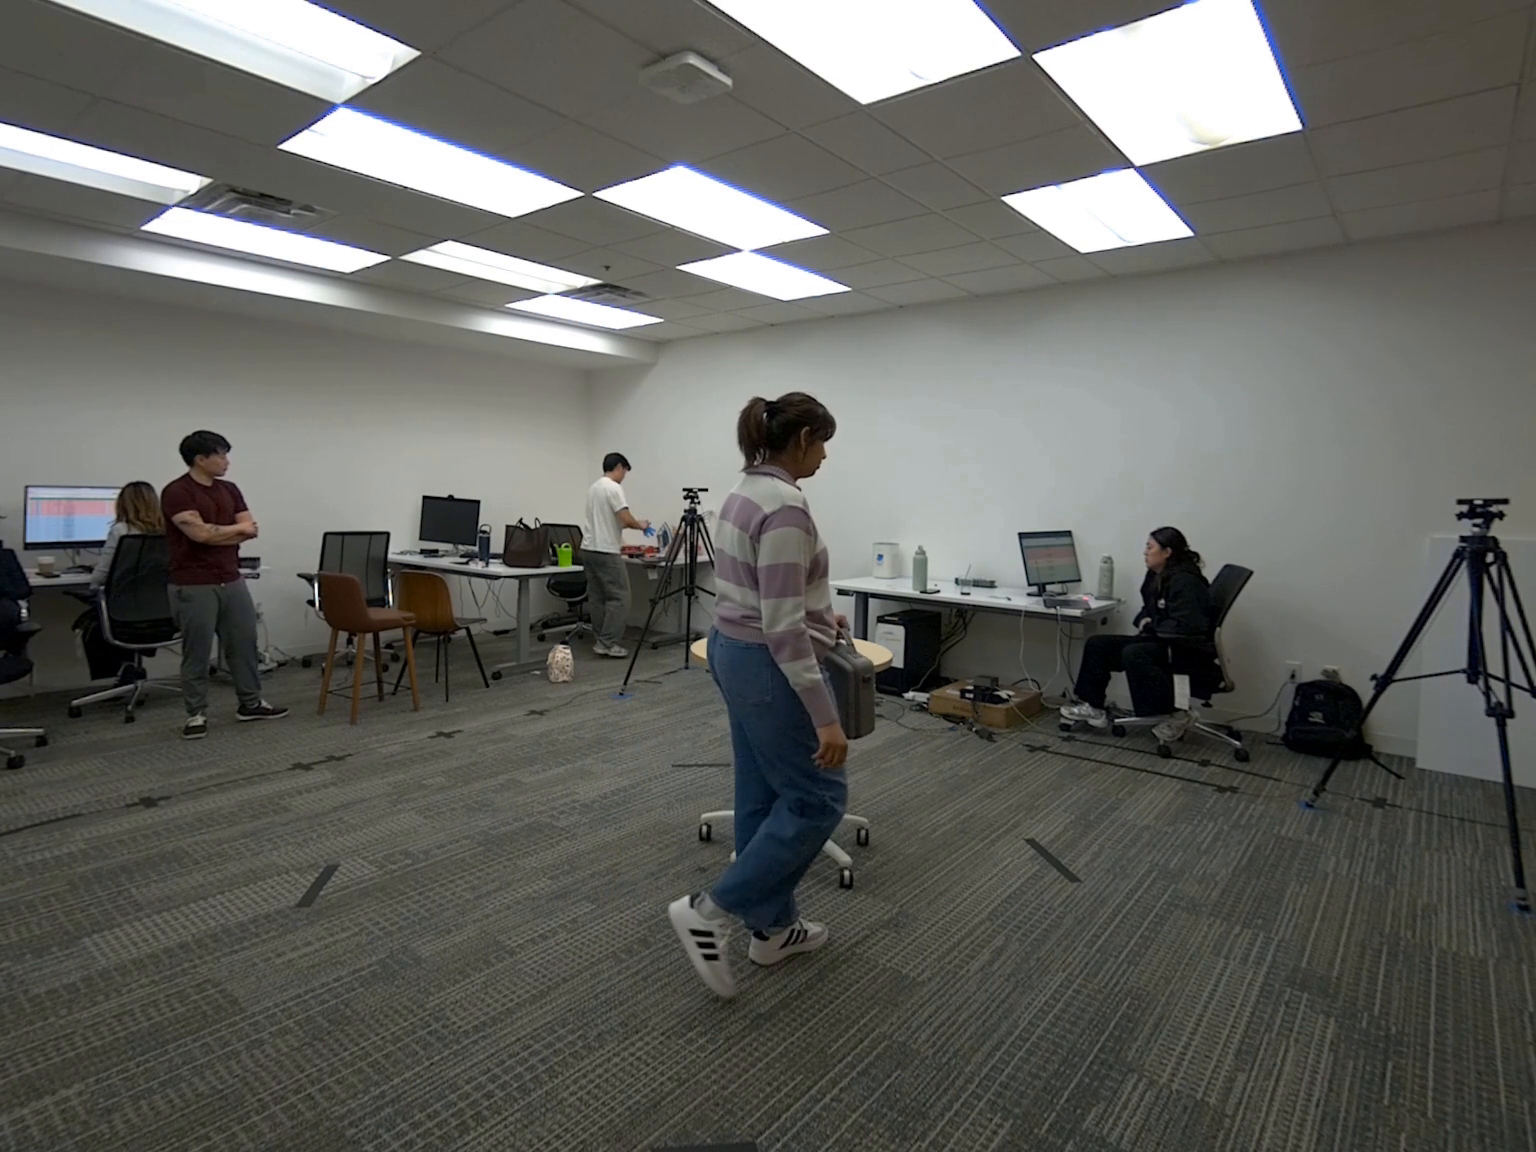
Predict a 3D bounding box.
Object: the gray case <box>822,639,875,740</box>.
[{"bbox_3d":[0.219,0.334,2.628,0.102,0.256,0.266,-9,18,-24],"label":"gray case"}]
